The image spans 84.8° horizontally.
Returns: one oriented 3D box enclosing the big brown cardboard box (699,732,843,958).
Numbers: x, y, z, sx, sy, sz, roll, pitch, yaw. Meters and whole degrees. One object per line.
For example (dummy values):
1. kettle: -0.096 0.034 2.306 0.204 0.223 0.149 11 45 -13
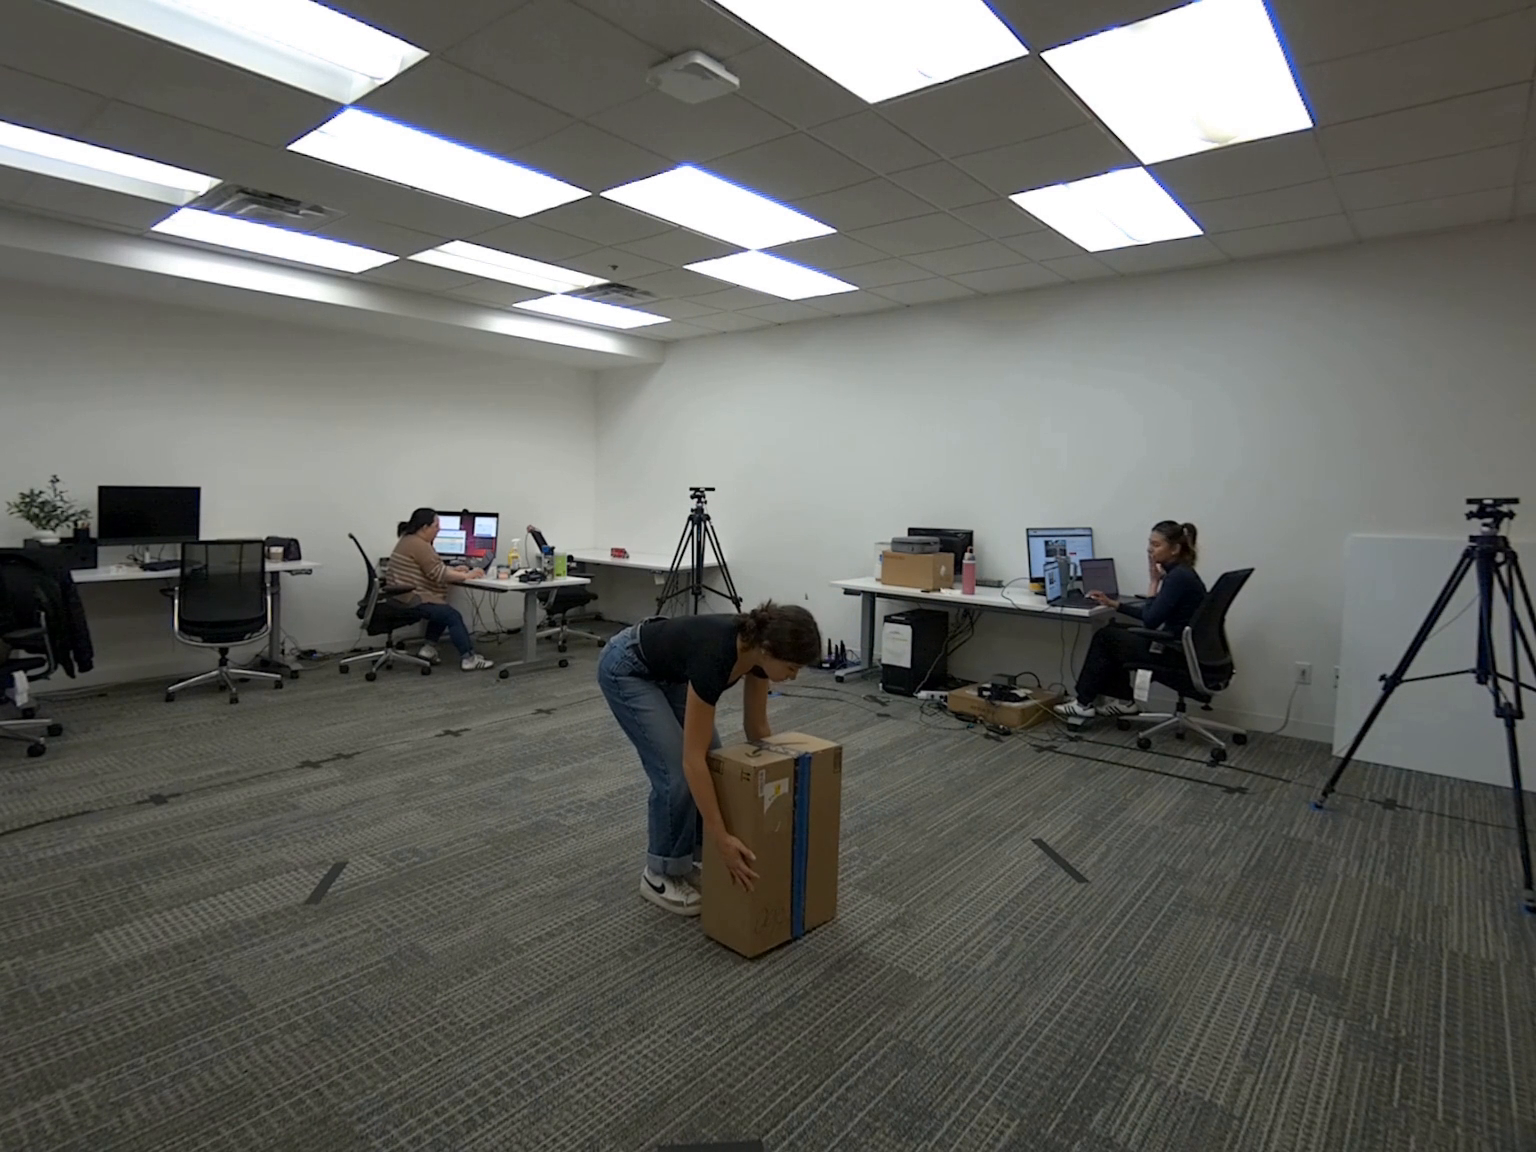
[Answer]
1. big brown cardboard box: 0.012 0.813 2.692 0.241 0.587 0.405 4 4 44
